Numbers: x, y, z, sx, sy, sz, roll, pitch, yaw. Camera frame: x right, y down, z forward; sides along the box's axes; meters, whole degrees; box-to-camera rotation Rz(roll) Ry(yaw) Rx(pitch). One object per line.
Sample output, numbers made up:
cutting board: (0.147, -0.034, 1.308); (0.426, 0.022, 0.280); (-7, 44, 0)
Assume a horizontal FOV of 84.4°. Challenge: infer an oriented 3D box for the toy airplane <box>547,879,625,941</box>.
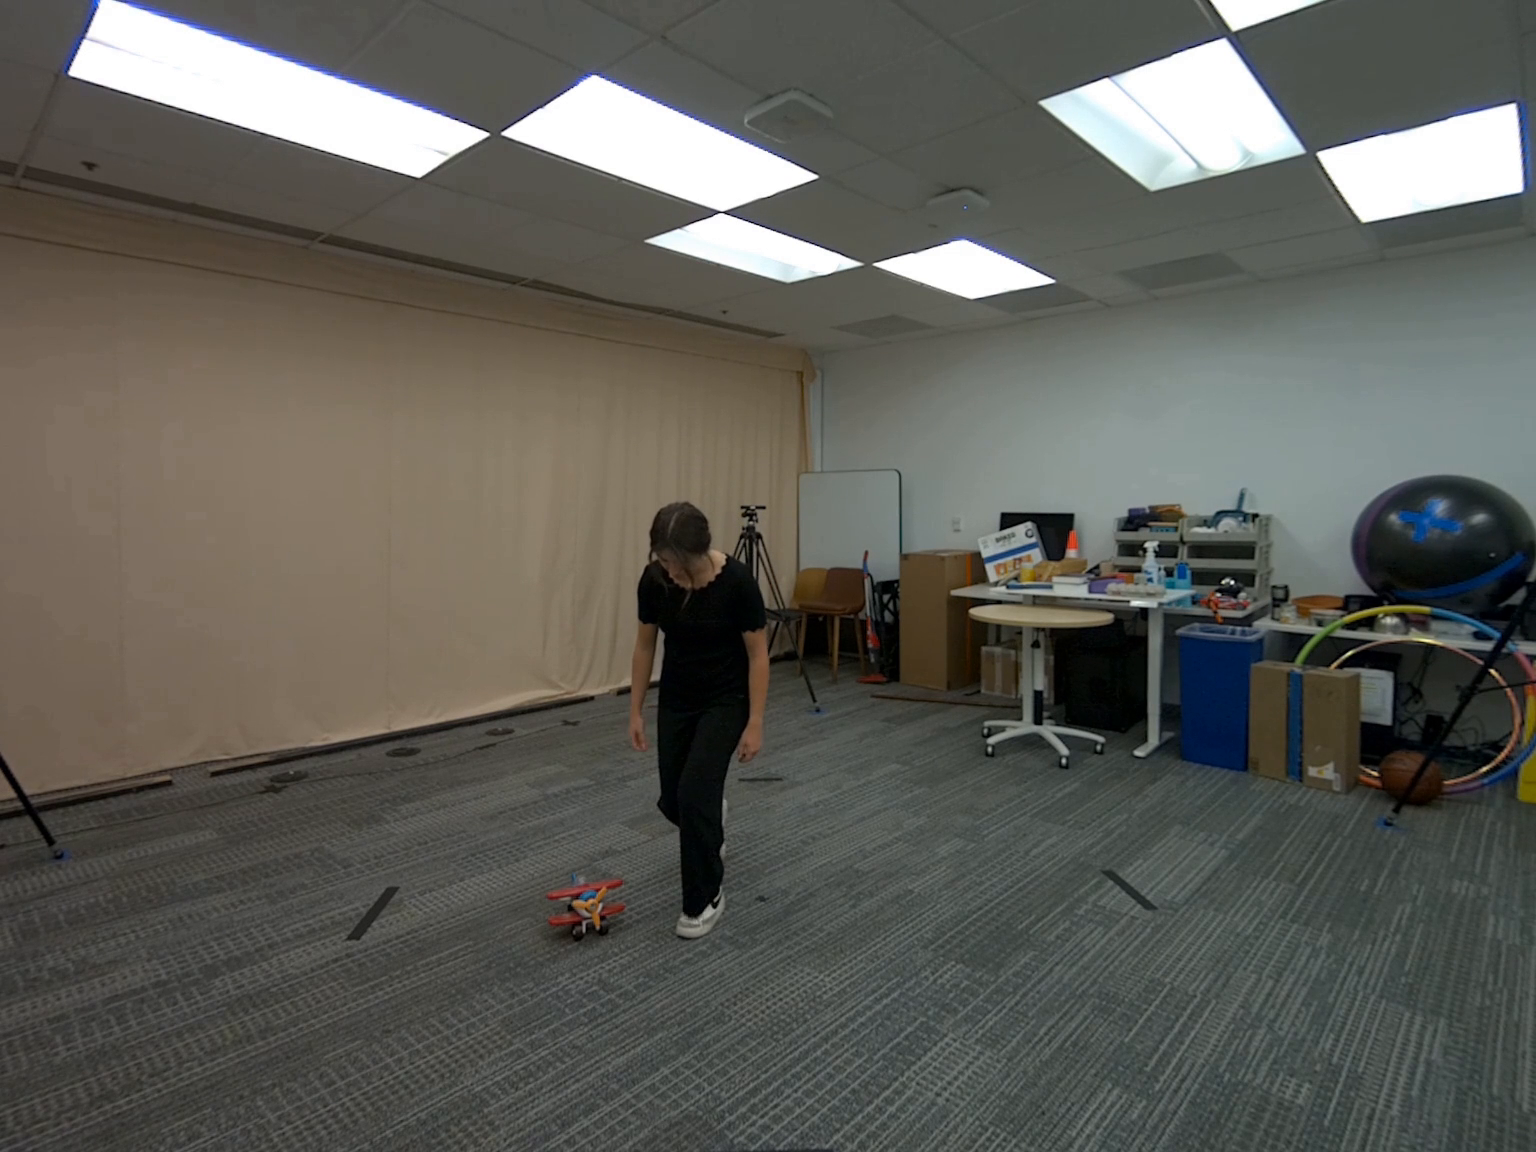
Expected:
toy airplane: (-0.630, 1.094, 2.793); (0.267, 0.156, 0.244); (3, 7, 36)
